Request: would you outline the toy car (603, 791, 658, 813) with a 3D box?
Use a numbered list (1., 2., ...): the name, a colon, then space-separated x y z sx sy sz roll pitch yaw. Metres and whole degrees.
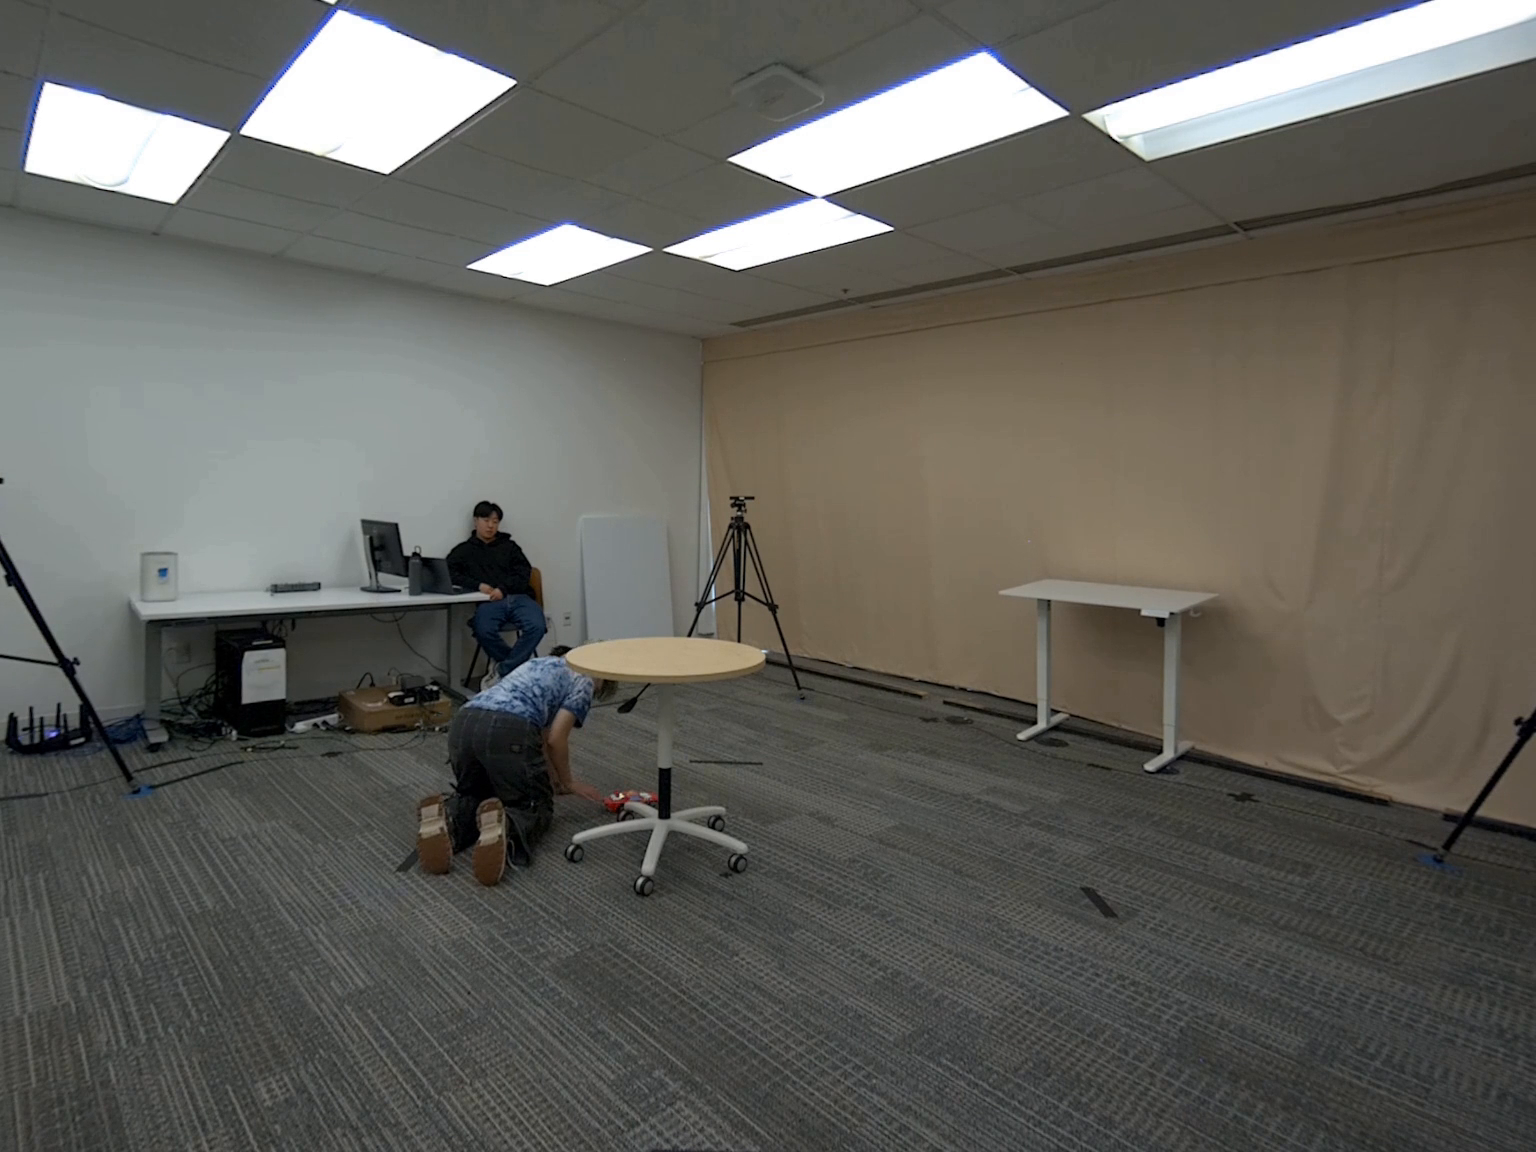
1. toy car: -0.630 1.005 3.748 0.249 0.083 0.133 11 -3 -26
